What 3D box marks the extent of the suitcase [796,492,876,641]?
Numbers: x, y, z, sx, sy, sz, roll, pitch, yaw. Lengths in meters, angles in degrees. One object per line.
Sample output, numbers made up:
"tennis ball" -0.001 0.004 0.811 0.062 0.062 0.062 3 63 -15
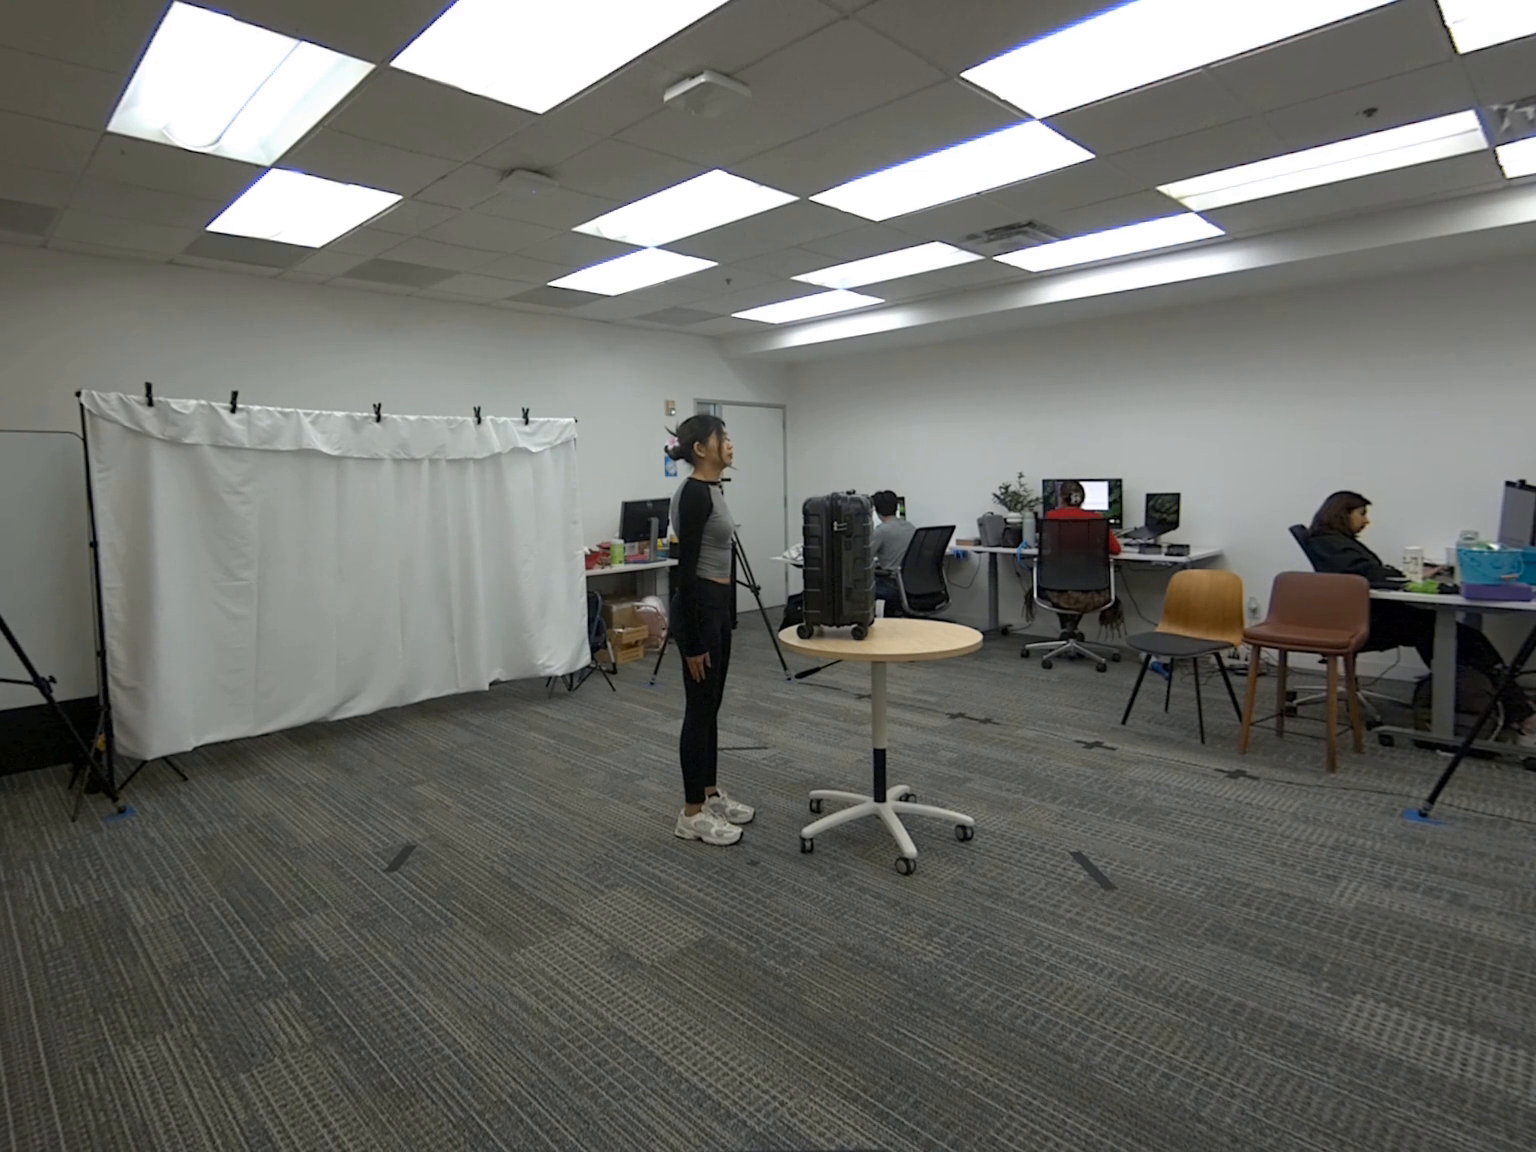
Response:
"suitcase" 0.271 -0.056 3.297 0.251 0.547 0.372 0 5 12
